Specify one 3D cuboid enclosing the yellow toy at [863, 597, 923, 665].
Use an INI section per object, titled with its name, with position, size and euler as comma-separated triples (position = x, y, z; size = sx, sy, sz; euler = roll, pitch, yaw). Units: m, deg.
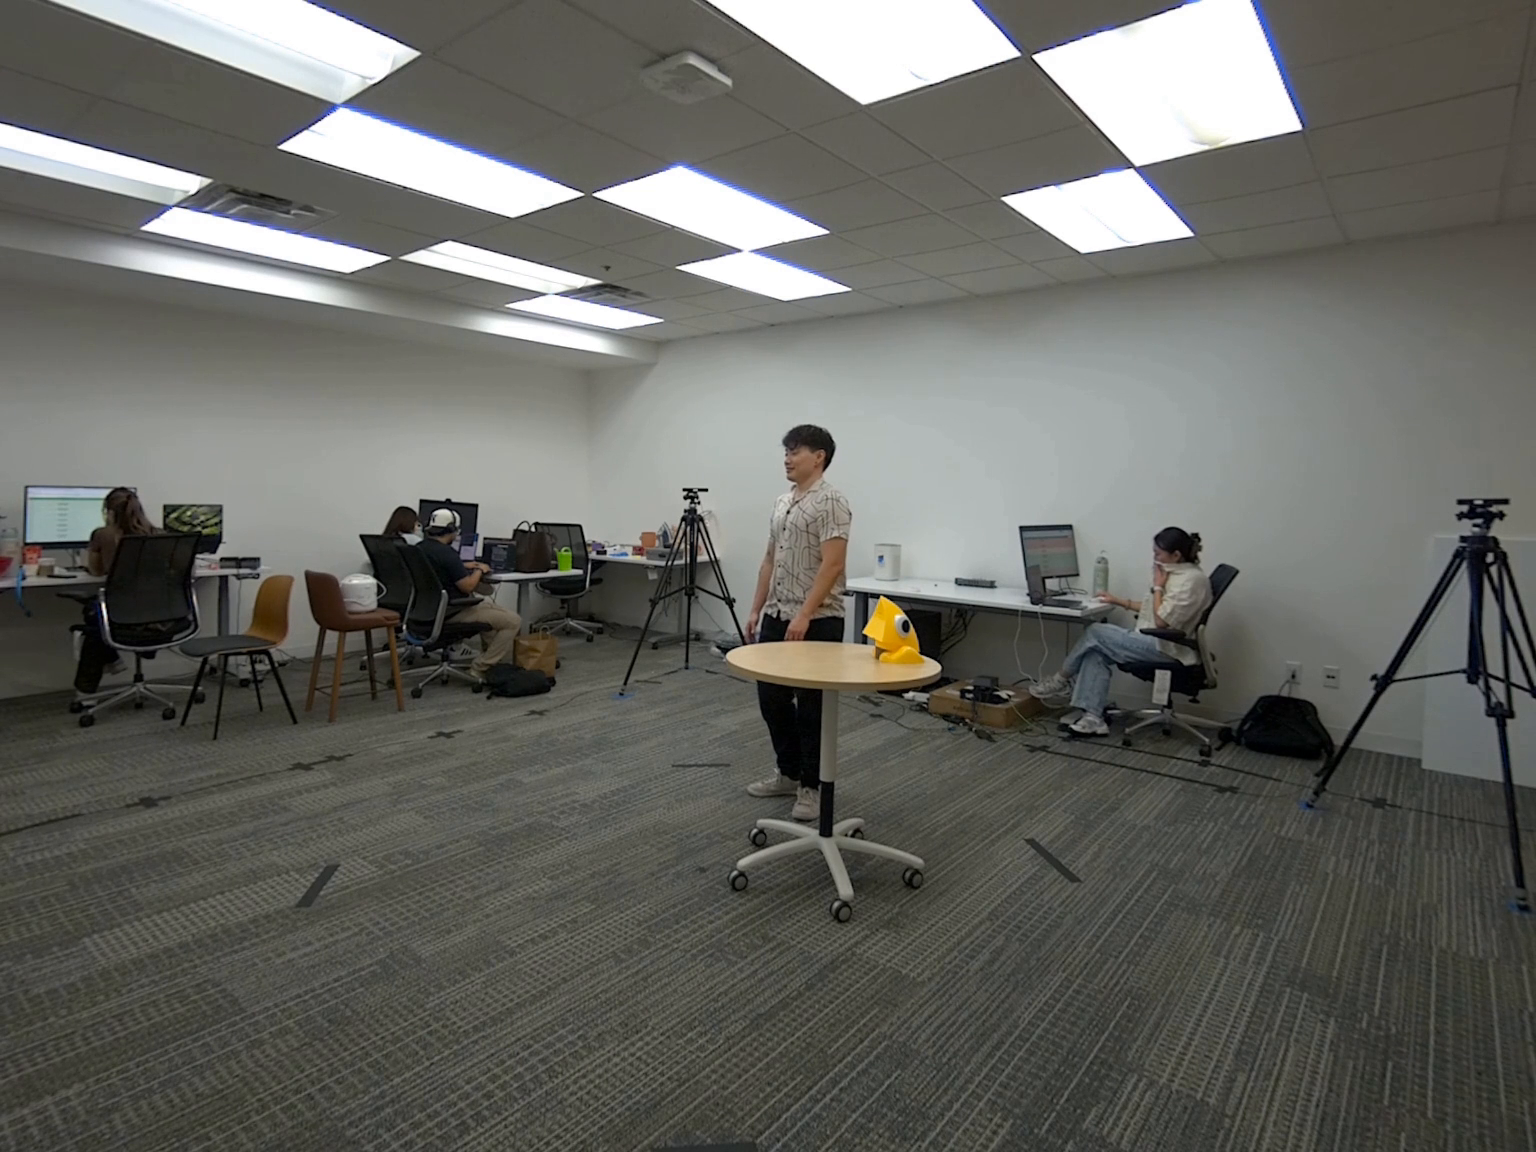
[yellow toy]
position = 0.457, 0.179, 3.125
size = 0.191, 0.230, 0.208
euler = -4, 4, -12
